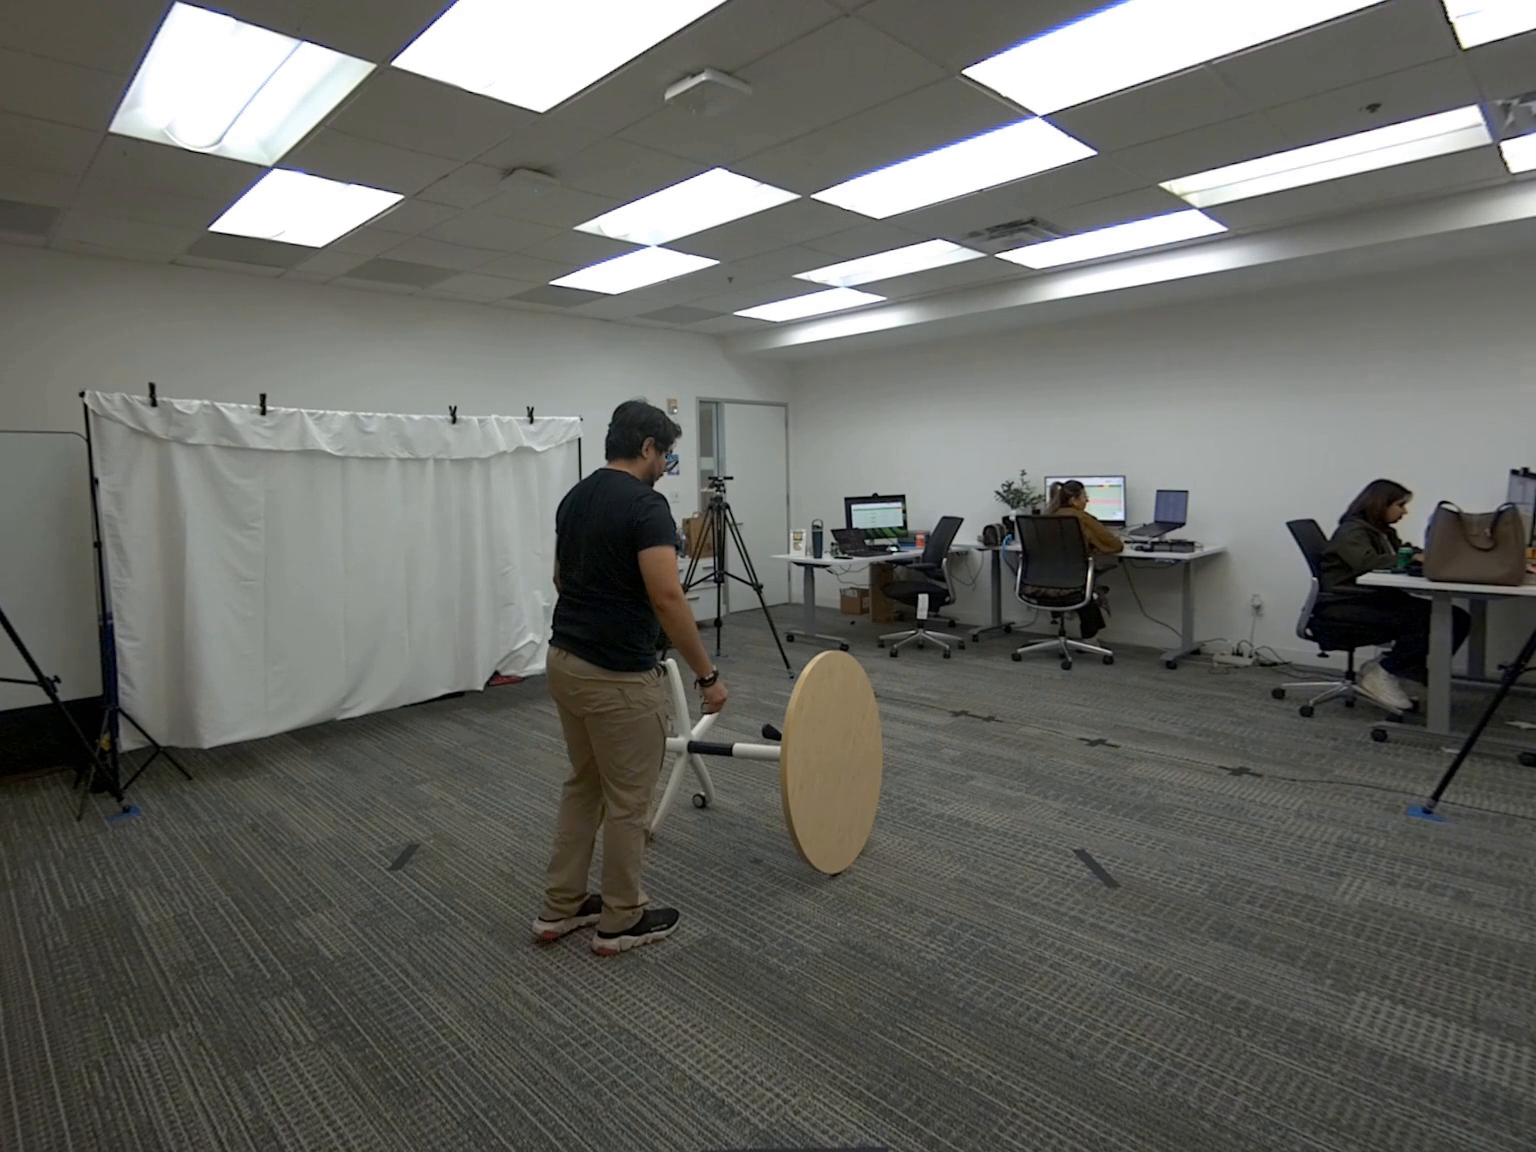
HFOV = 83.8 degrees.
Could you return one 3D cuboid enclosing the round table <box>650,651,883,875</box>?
[{"bbox_3d":[-0.084,0.660,3.270,0.806,0.784,0.767,-3,3,32],"label":"round table"}]
